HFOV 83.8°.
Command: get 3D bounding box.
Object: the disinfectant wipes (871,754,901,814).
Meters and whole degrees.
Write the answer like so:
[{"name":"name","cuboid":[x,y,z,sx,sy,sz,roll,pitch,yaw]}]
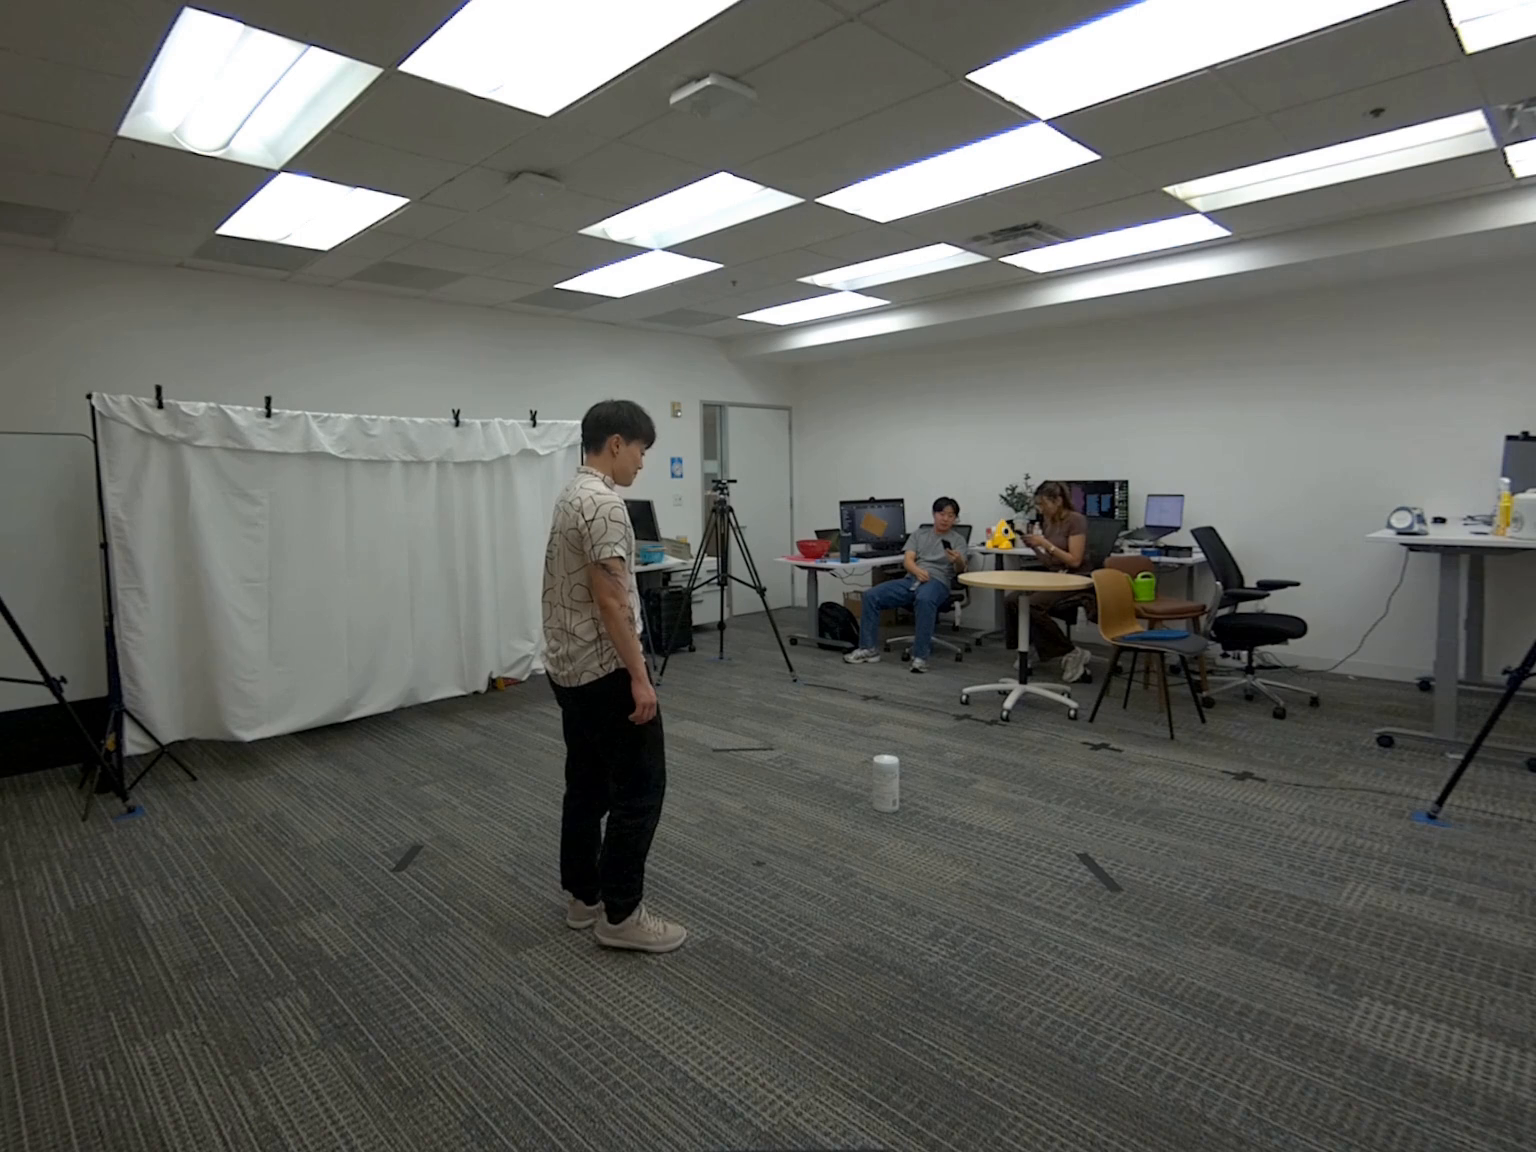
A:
[{"name":"disinfectant wipes","cuboid":[0.503,0.879,3.605,0.118,0.217,0.118,-2,3,-1]}]
